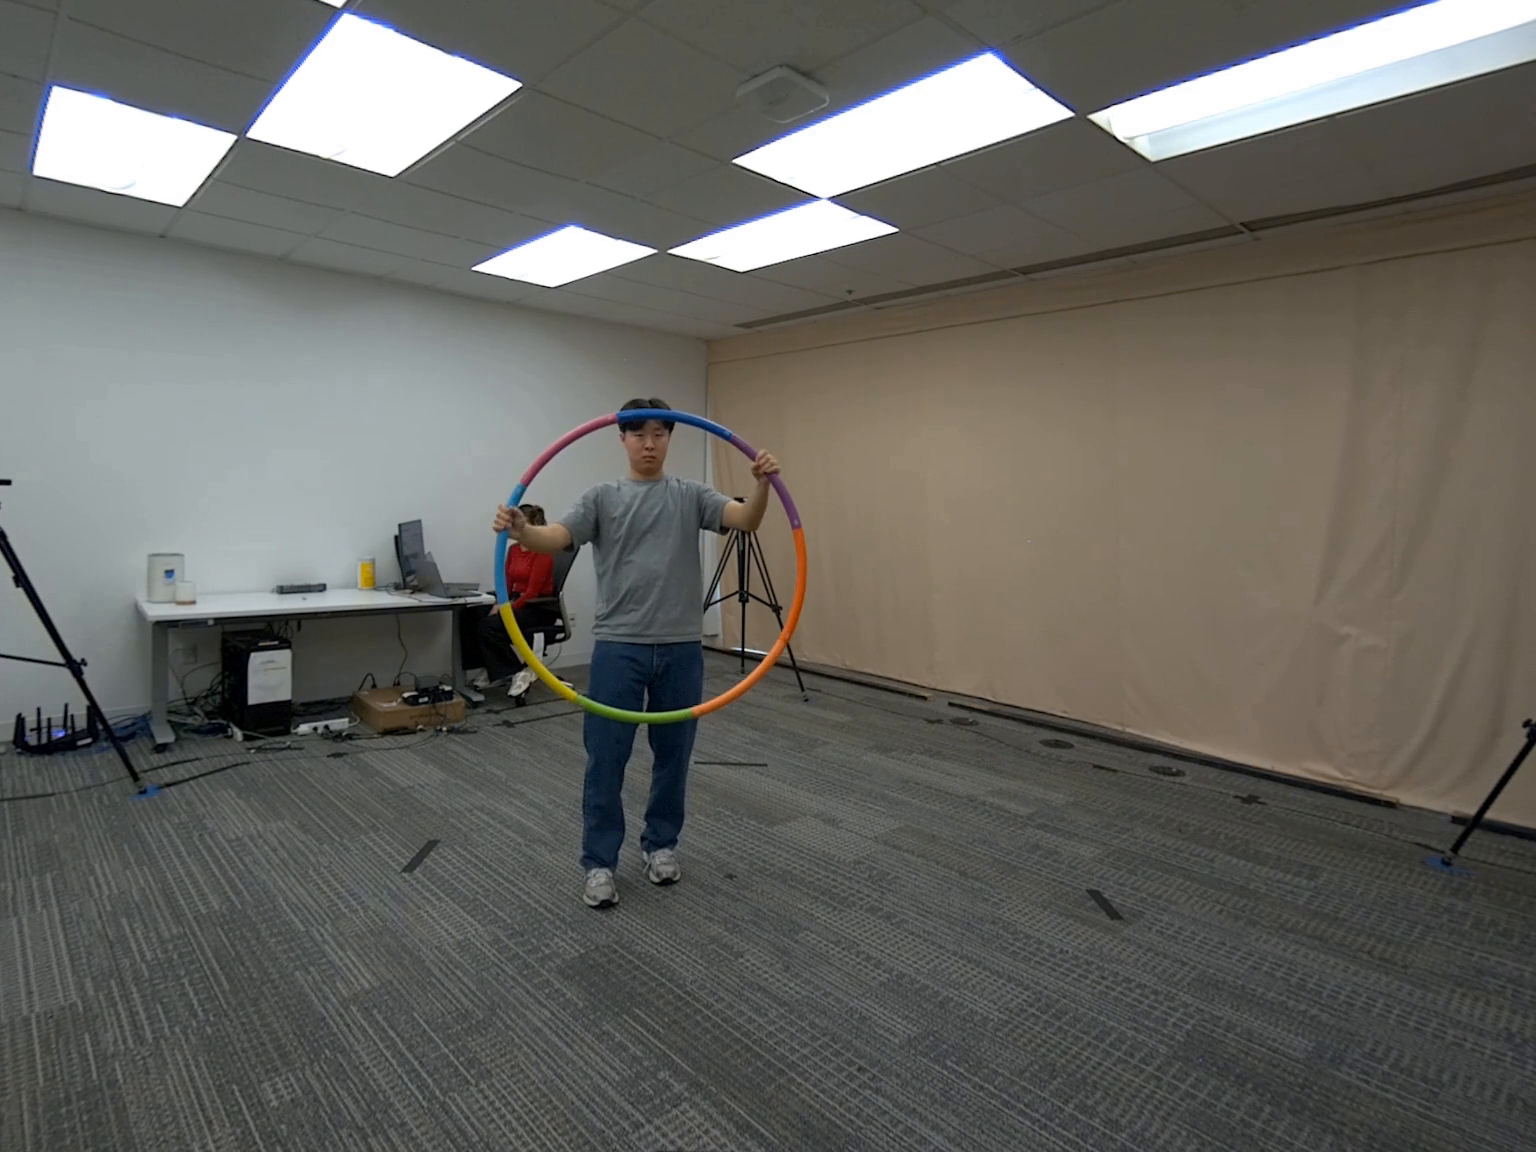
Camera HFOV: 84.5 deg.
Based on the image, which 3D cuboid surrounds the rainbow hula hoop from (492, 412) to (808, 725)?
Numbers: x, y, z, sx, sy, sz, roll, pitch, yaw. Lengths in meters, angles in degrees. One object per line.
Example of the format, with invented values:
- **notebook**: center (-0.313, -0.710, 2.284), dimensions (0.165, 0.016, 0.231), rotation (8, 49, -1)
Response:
- **rainbow hula hoop**: center (-0.364, -0.037, 2.643), dimensions (0.971, 0.981, 0.036), rotation (1, -3, -9)
